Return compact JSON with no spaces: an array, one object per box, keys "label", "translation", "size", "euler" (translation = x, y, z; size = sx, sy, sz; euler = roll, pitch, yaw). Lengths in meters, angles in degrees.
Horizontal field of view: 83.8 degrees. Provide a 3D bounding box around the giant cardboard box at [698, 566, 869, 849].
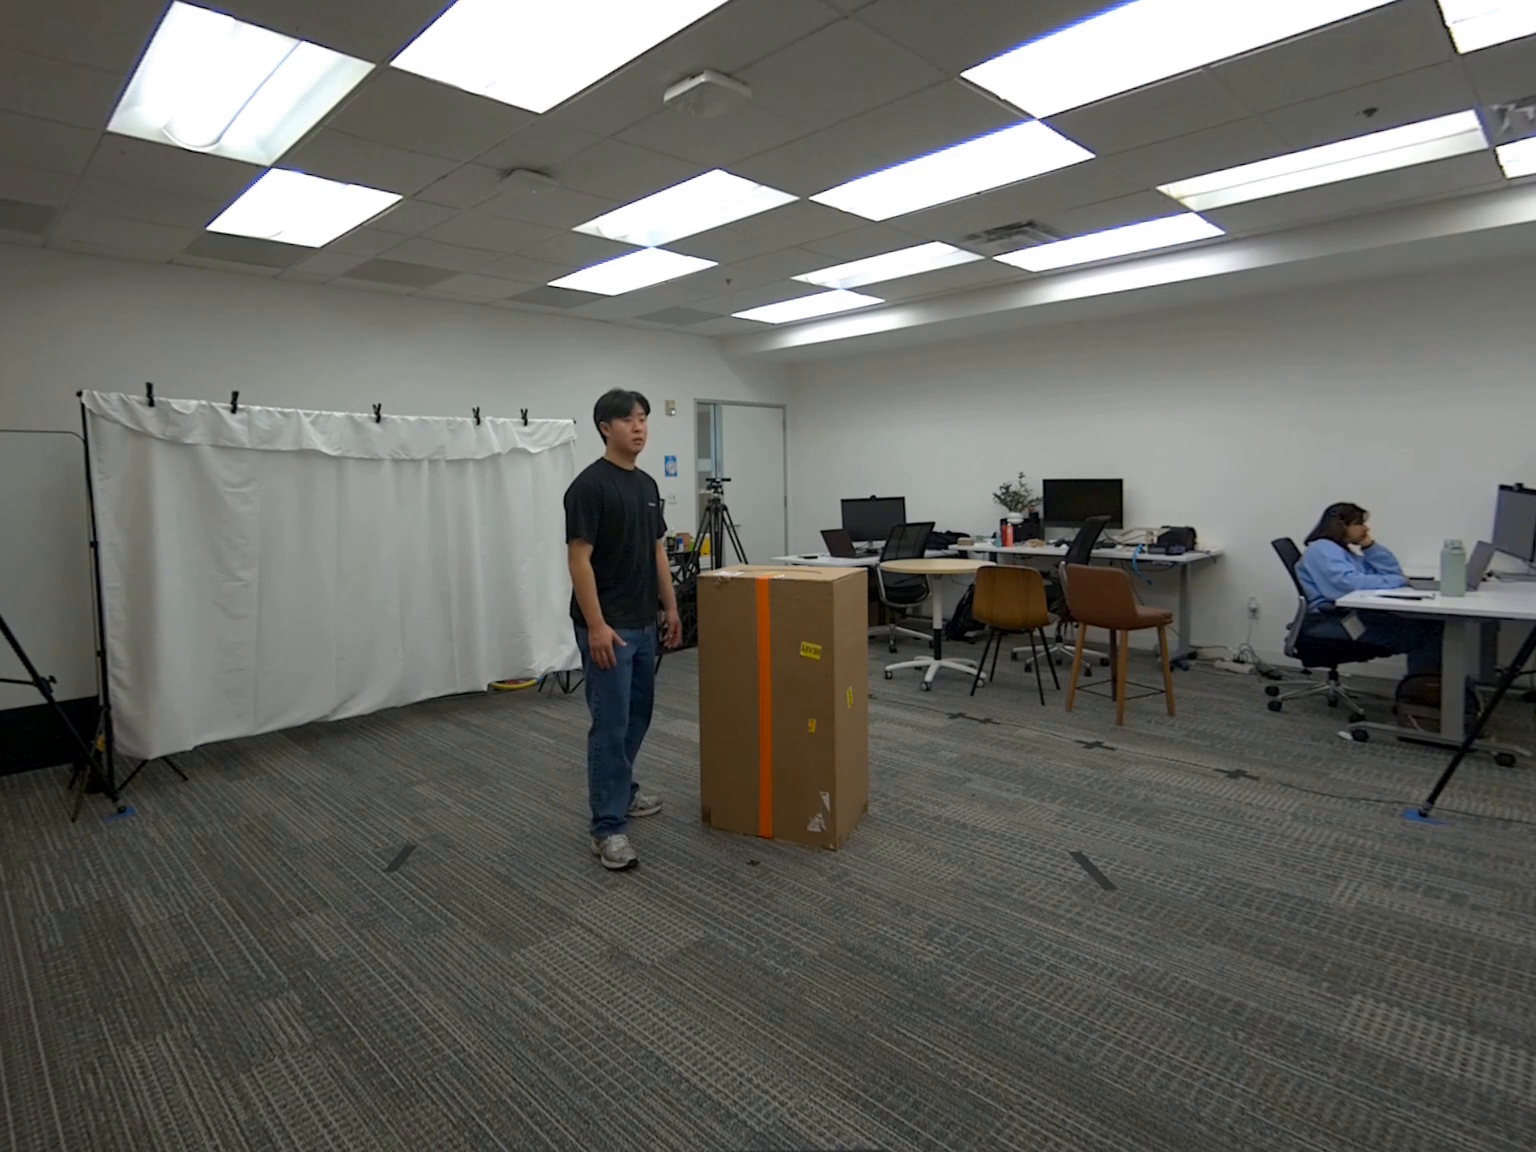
[{"label":"giant cardboard box","translation":[0.070,0.485,3.469],"size":[0.598,1.022,0.438],"euler":[2,5,27]}]
